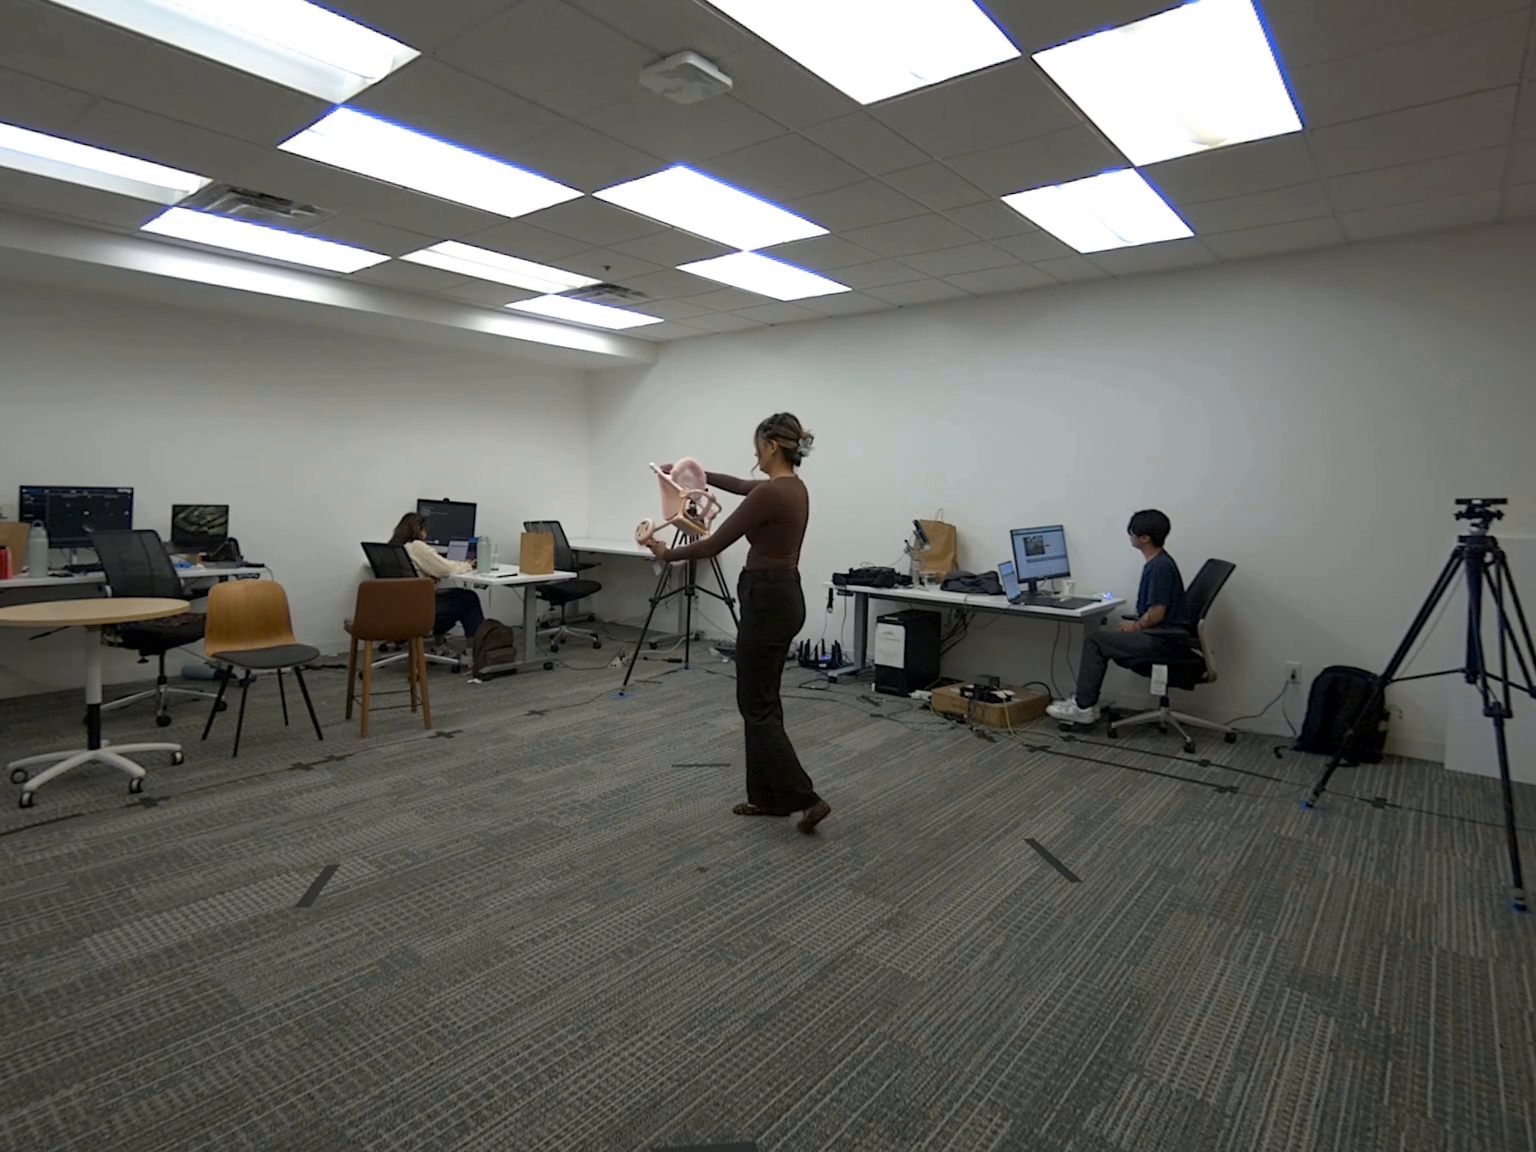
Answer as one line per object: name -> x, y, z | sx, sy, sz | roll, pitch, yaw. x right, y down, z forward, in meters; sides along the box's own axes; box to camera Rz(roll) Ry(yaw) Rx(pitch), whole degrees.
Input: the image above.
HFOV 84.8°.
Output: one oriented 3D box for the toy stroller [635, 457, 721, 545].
toy stroller -> -0.380, -0.305, 3.732 | 0.347, 0.548, 0.270 | -21, -37, 33
